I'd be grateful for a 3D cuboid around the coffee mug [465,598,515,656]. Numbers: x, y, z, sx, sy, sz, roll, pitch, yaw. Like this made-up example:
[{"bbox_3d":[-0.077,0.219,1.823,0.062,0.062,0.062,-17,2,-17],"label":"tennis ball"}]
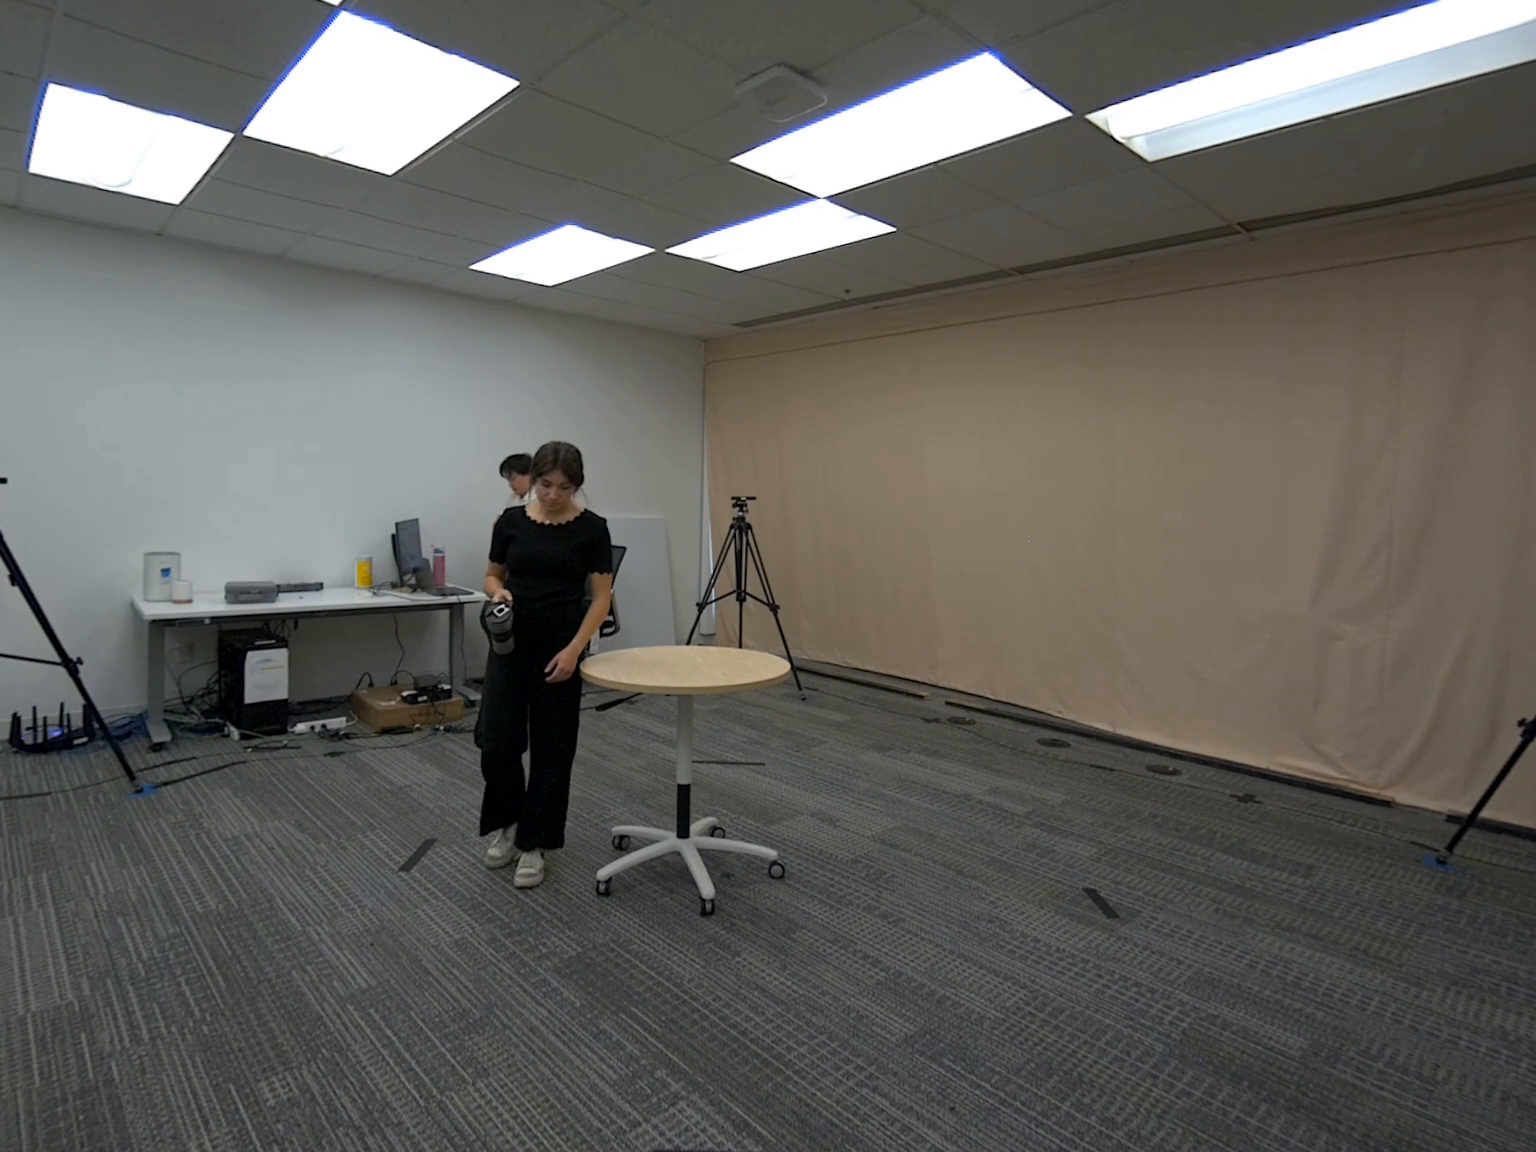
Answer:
[{"bbox_3d":[-0.922,0.184,2.880,0.121,0.198,0.090,-40,54,-24],"label":"coffee mug"}]
